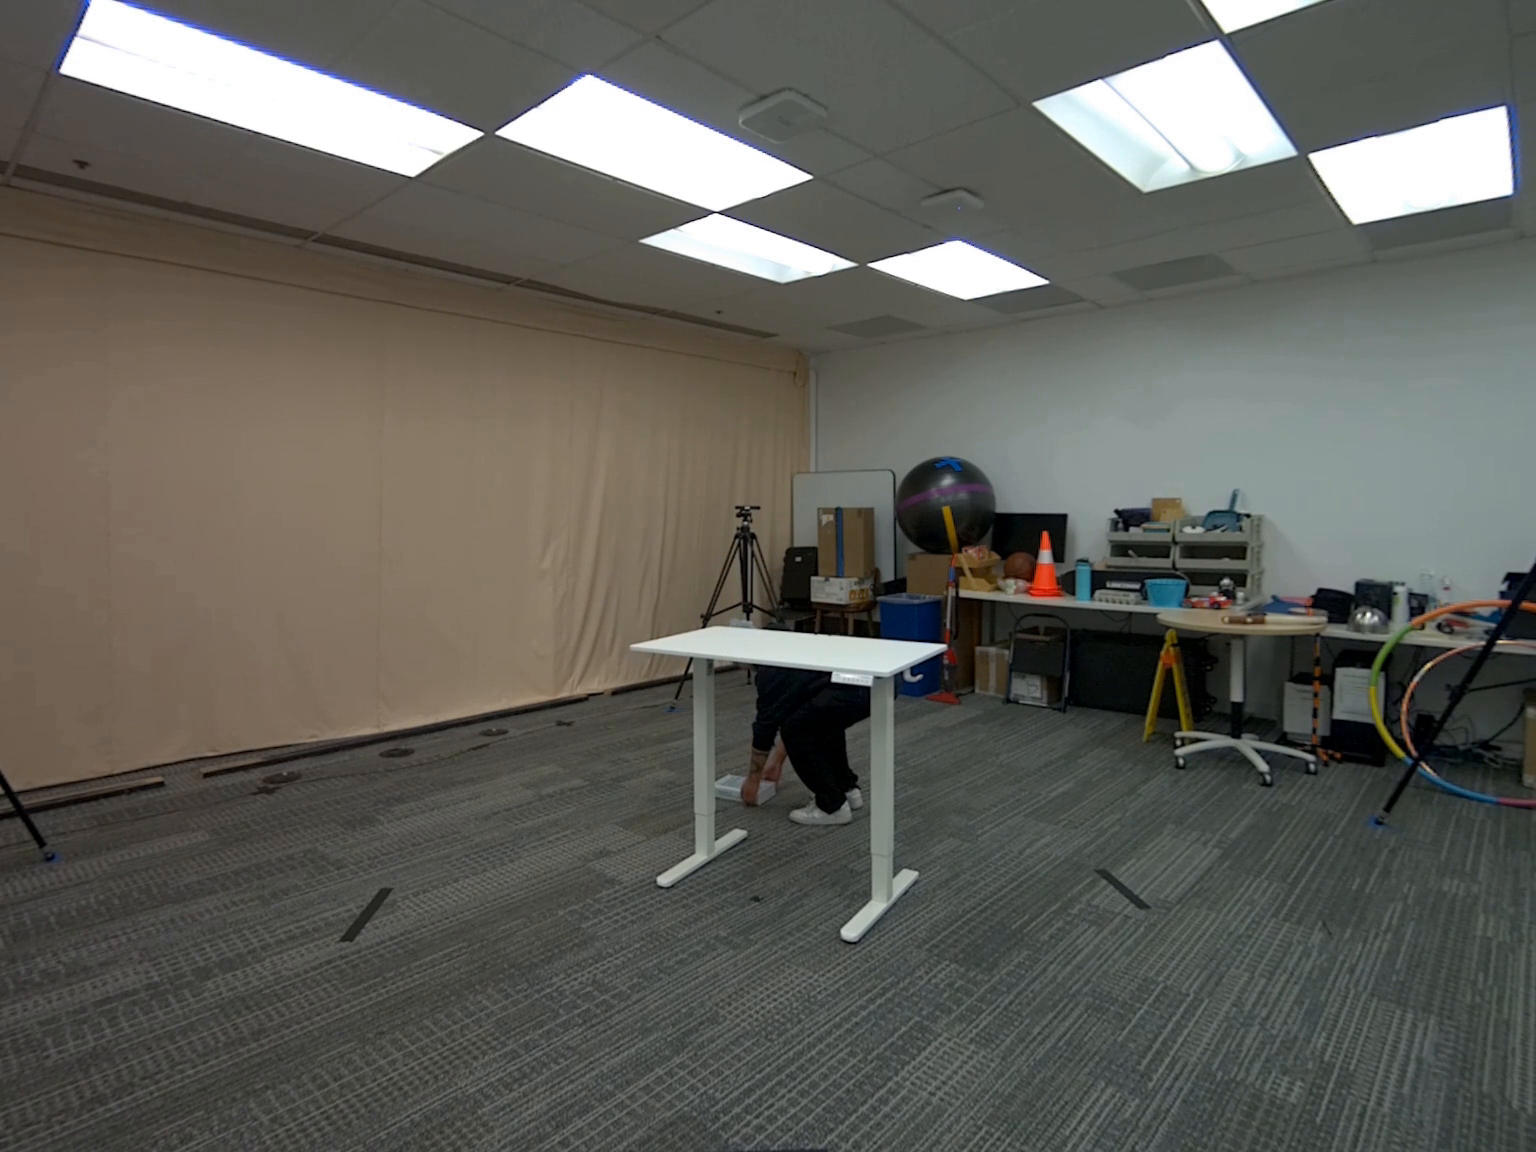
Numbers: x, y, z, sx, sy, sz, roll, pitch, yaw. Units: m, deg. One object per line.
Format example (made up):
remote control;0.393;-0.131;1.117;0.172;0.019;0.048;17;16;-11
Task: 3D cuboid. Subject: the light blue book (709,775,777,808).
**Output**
light blue book;-0.122;1.030;4.064;0.268;0.059;0.186;2;4;29
